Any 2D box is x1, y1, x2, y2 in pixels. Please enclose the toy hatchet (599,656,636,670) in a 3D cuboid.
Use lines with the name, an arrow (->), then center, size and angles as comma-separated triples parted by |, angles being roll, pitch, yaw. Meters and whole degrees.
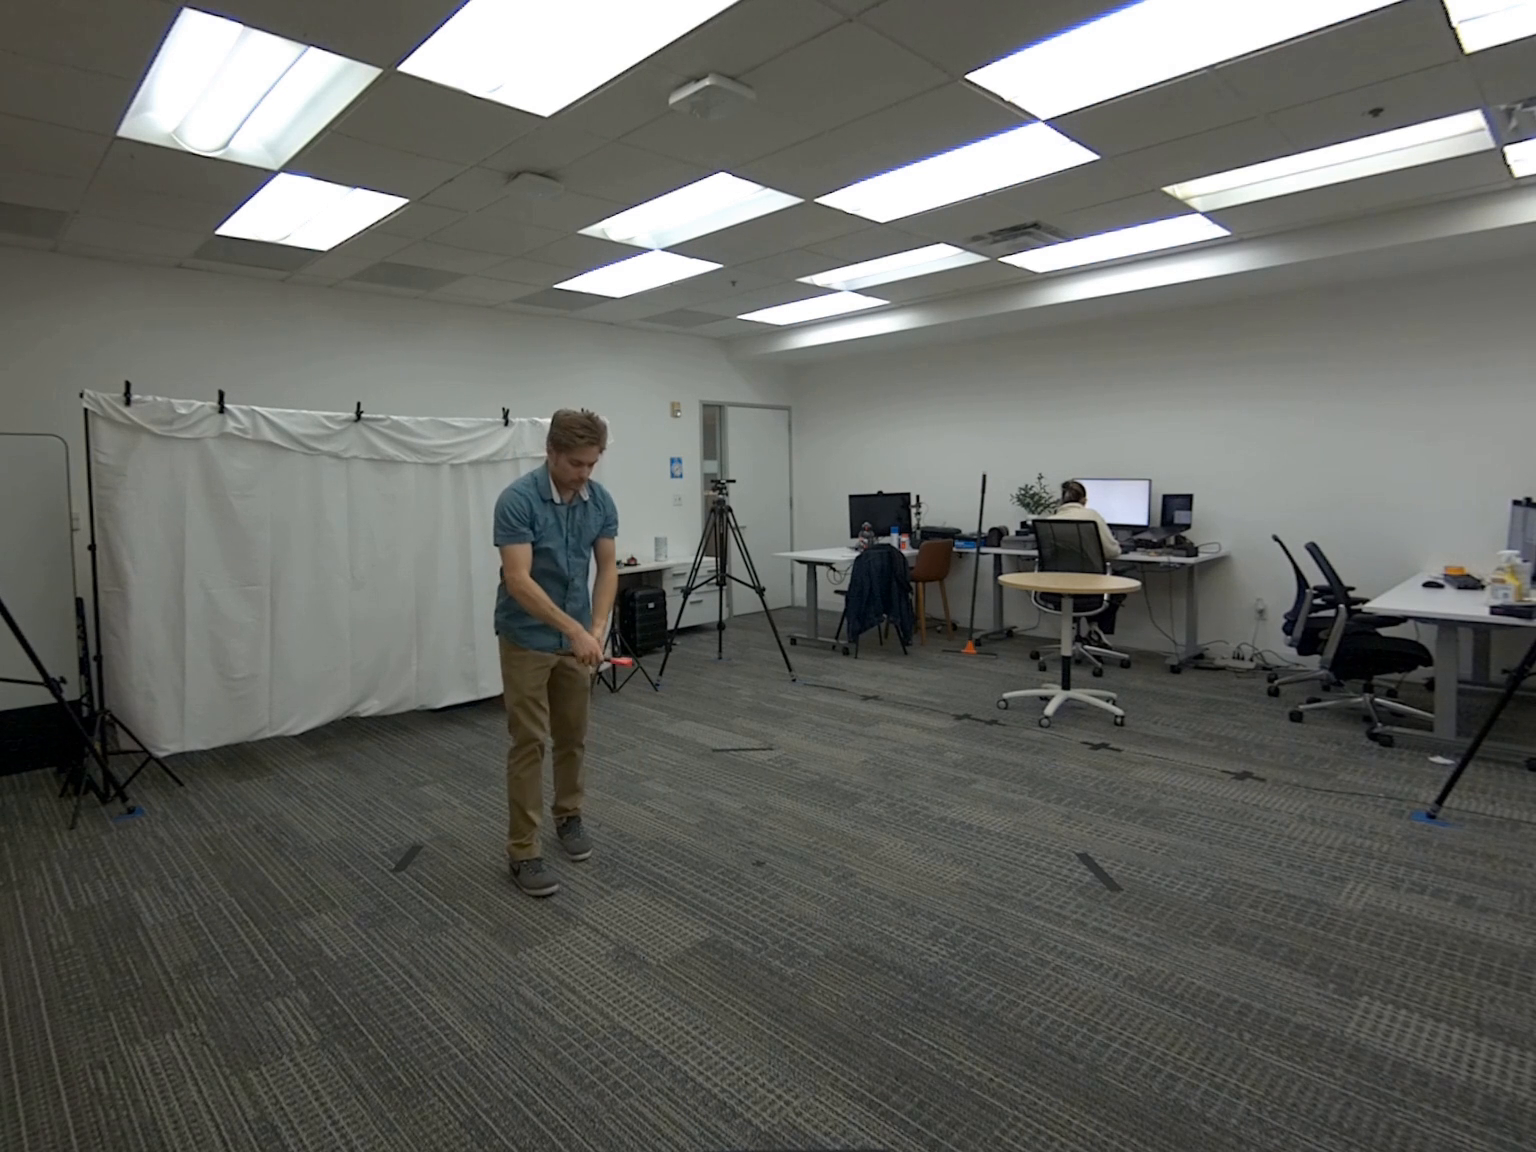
toy hatchet -> -0.587, 0.297, 2.877 | 0.264, 0.030, 0.133 | 5, -5, -21
